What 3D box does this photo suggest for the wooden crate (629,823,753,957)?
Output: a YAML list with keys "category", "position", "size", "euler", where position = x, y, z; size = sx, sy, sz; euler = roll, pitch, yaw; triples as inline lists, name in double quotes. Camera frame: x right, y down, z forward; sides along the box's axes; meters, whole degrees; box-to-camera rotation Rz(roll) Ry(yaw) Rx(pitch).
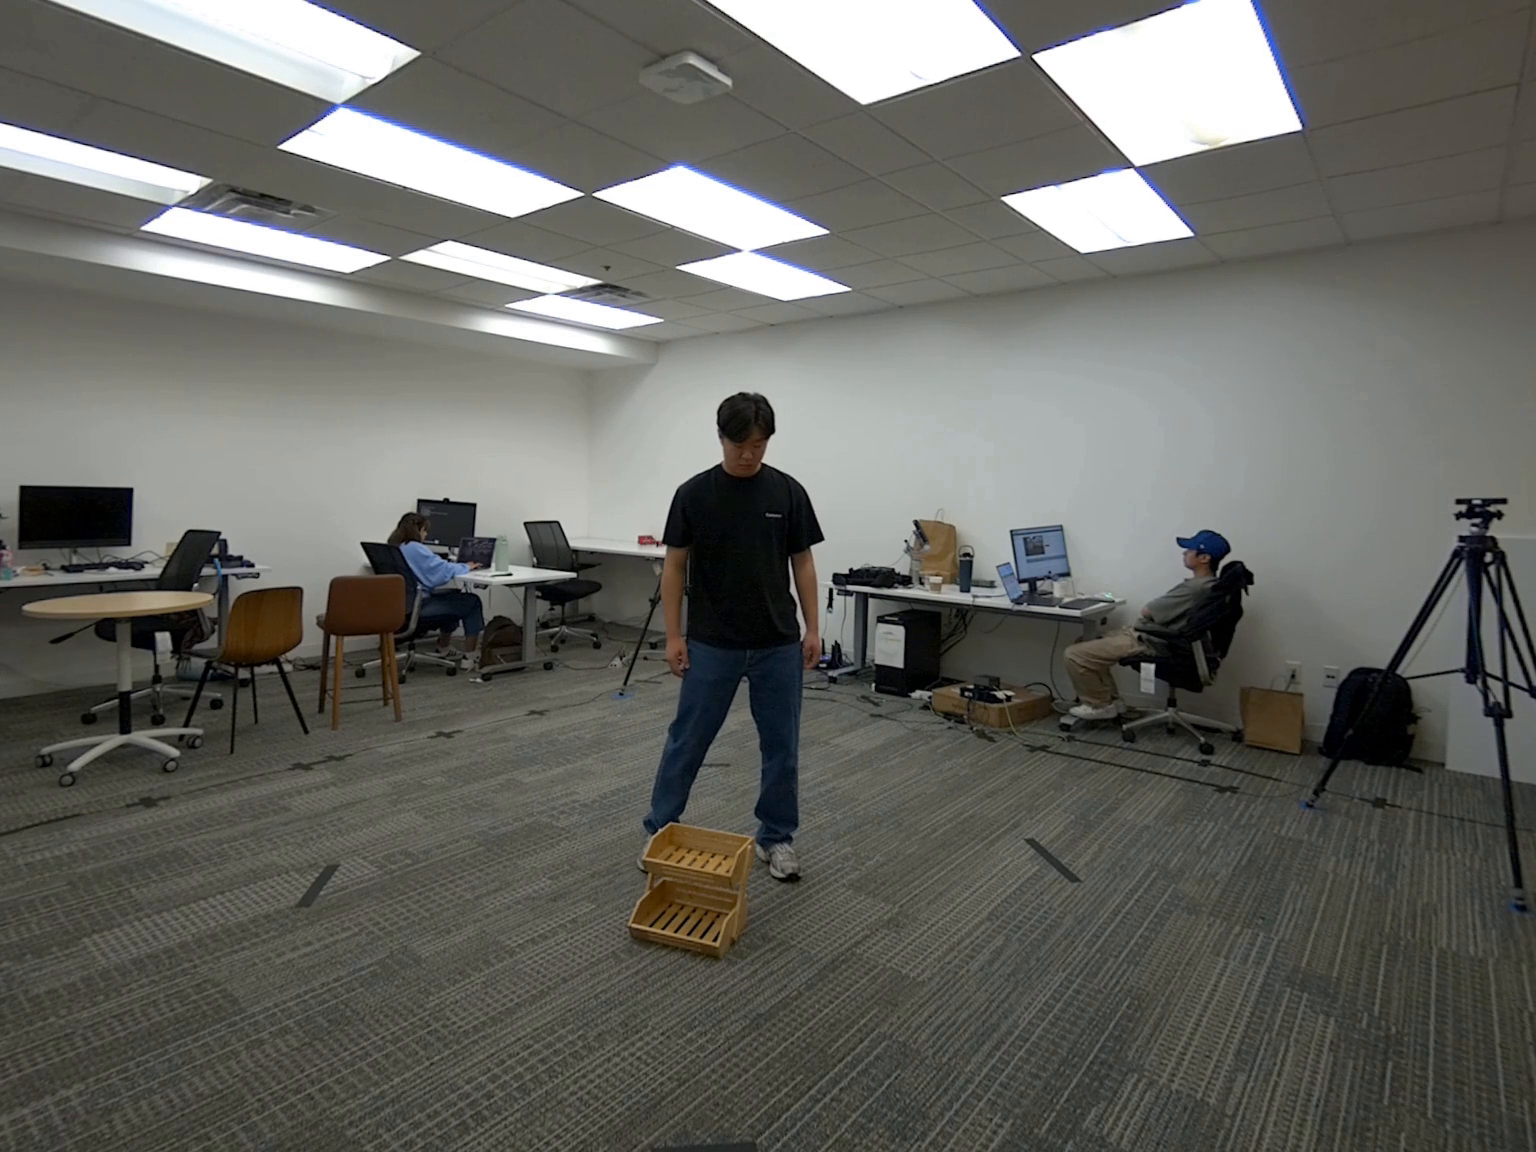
- category: "wooden crate"
  position: [-0.245, 0.976, 2.680]
  size: [0.331, 0.272, 0.296]
  euler: [2, 4, 20]
